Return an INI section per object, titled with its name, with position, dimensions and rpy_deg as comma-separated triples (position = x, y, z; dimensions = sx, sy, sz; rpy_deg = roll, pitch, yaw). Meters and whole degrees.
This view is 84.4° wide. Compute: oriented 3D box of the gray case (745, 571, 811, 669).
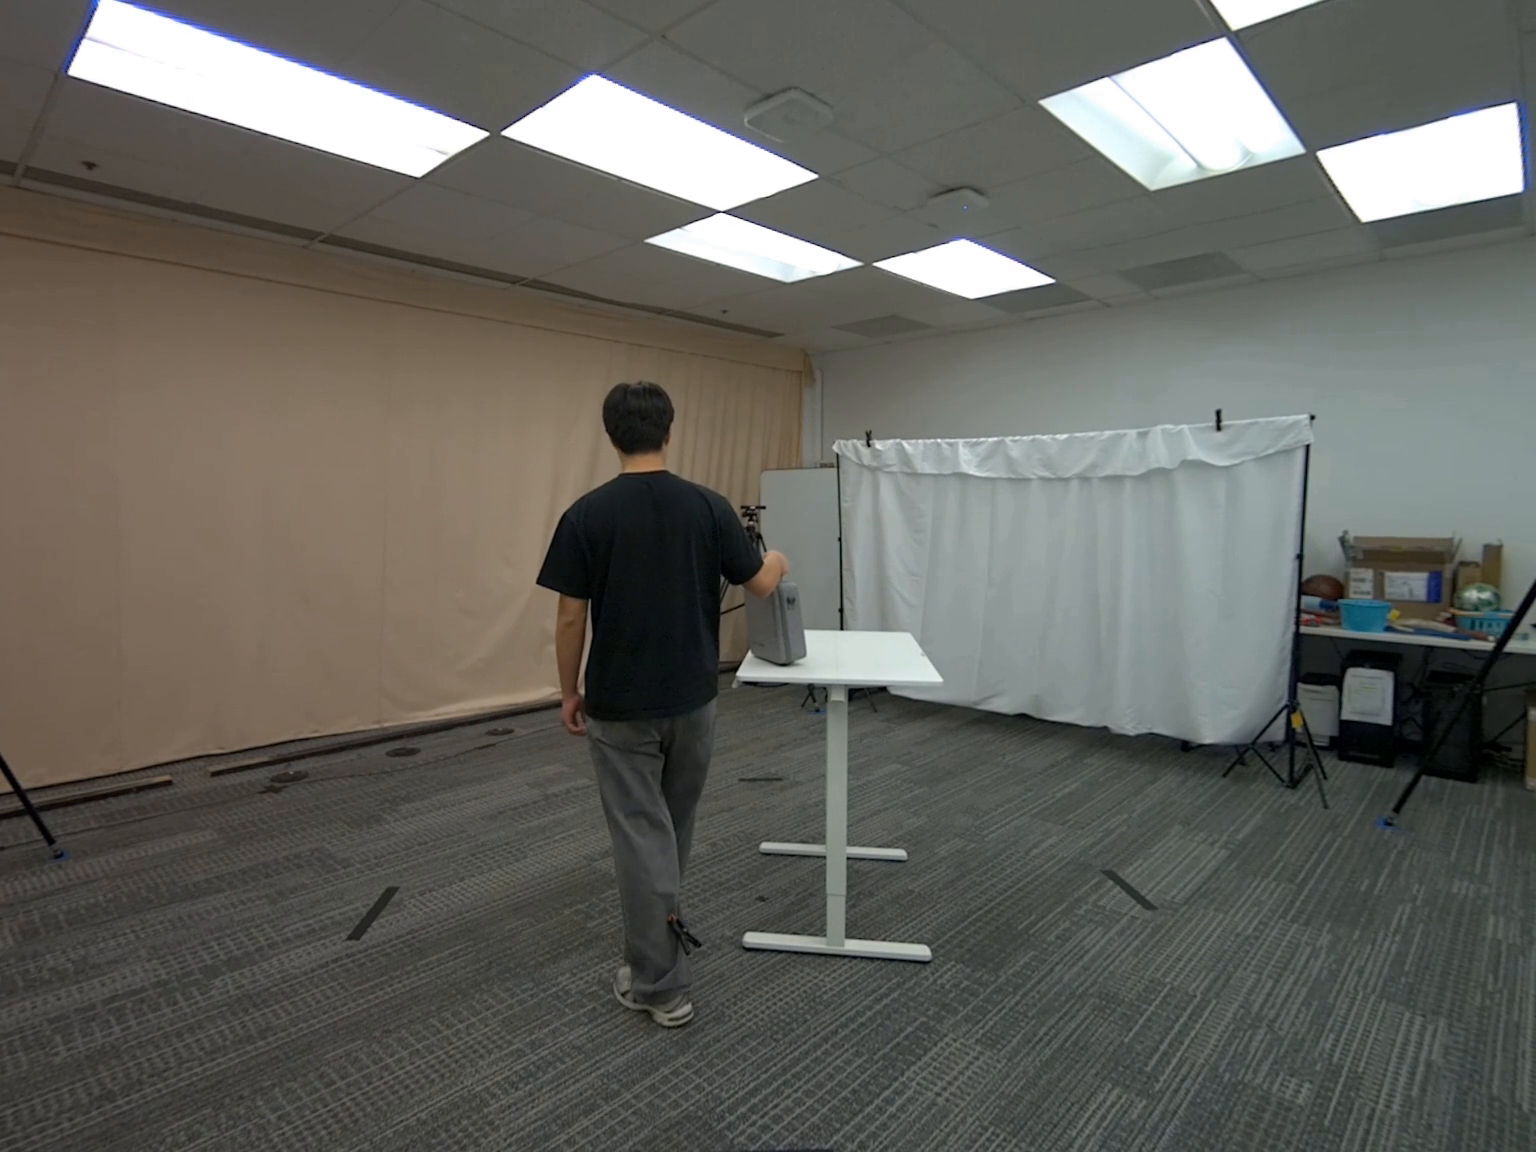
[gray case]
position = 0.025, 0.130, 2.737
dimensions = 0.101, 0.287, 0.268
rpy_deg = -4, 3, -20
